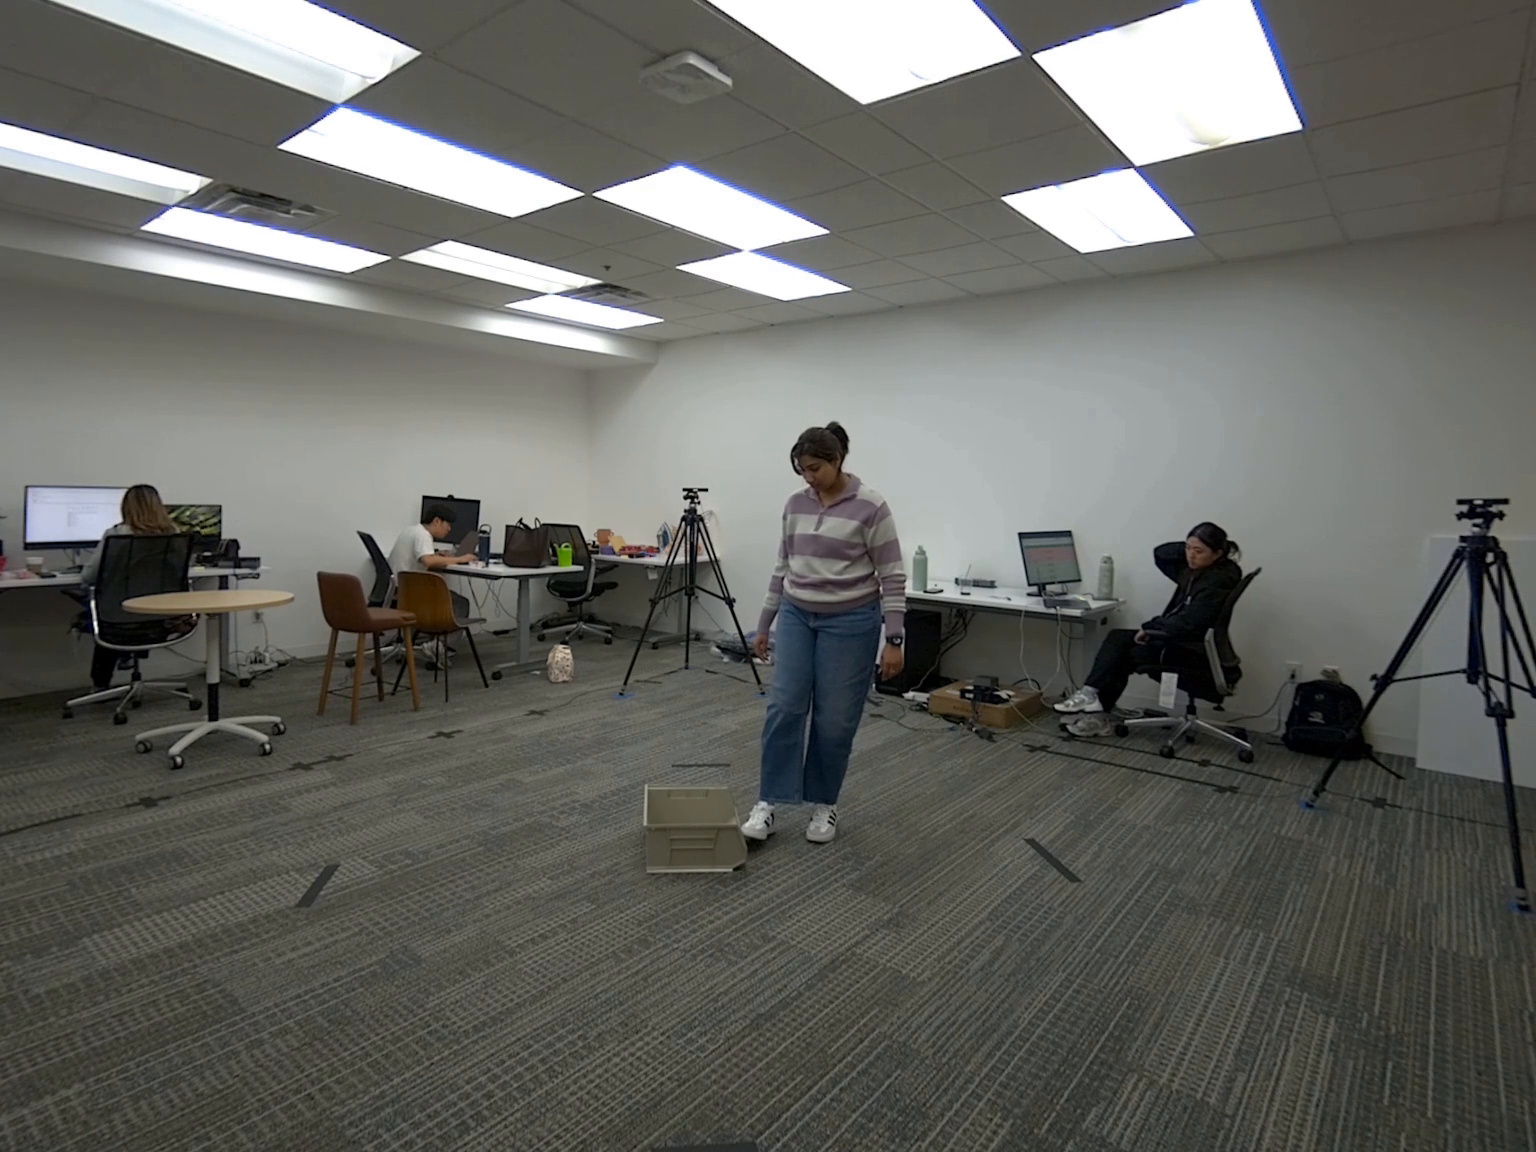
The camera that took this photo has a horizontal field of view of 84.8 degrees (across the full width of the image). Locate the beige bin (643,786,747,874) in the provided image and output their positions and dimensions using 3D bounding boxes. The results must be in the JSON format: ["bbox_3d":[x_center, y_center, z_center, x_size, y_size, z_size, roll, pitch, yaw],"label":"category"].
[{"bbox_3d":[-0.310,0.963,3.276,0.375,0.188,0.427,0,6,-7],"label":"beige bin"}]
